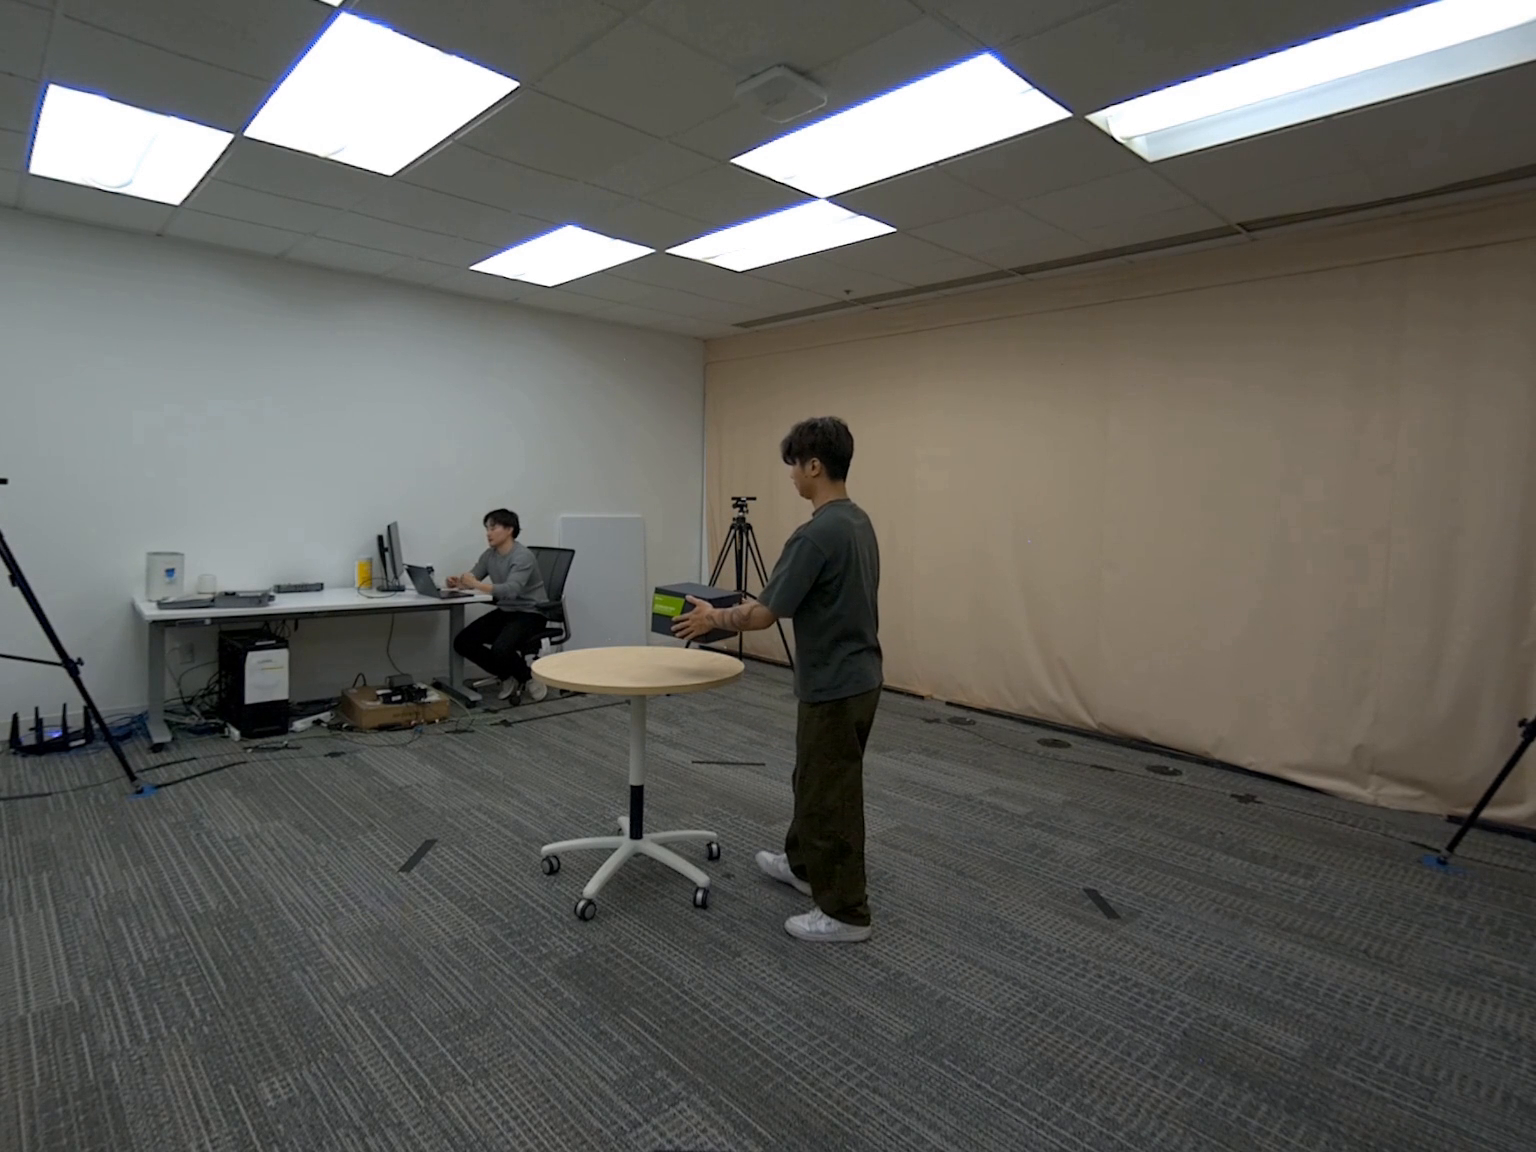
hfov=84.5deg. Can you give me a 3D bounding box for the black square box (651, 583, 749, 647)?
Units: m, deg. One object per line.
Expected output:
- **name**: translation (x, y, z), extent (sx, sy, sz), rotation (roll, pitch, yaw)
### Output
- **black square box**: translation (-0.253, 0.119, 2.908), extent (0.233, 0.155, 0.213), rotation (9, 9, 27)
